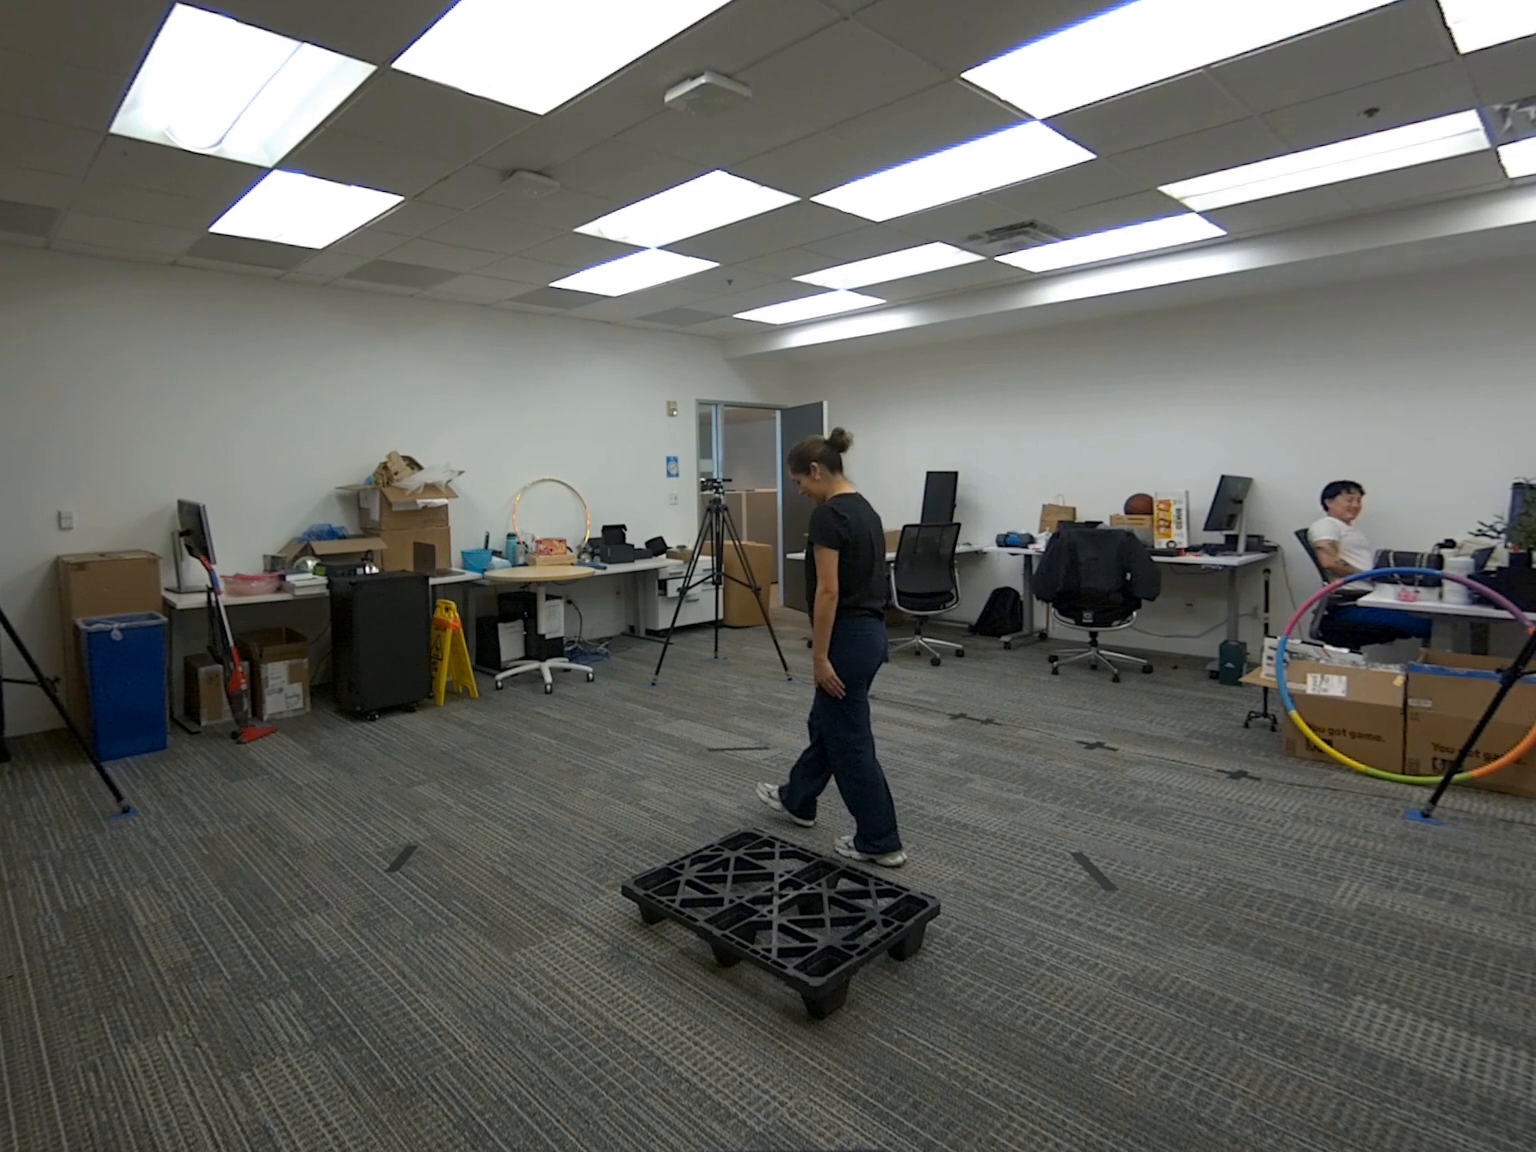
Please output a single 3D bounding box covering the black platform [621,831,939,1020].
[{"bbox_3d":[0.026,1.032,2.637,0.831,0.142,0.589,6,9,44],"label":"black platform"}]
